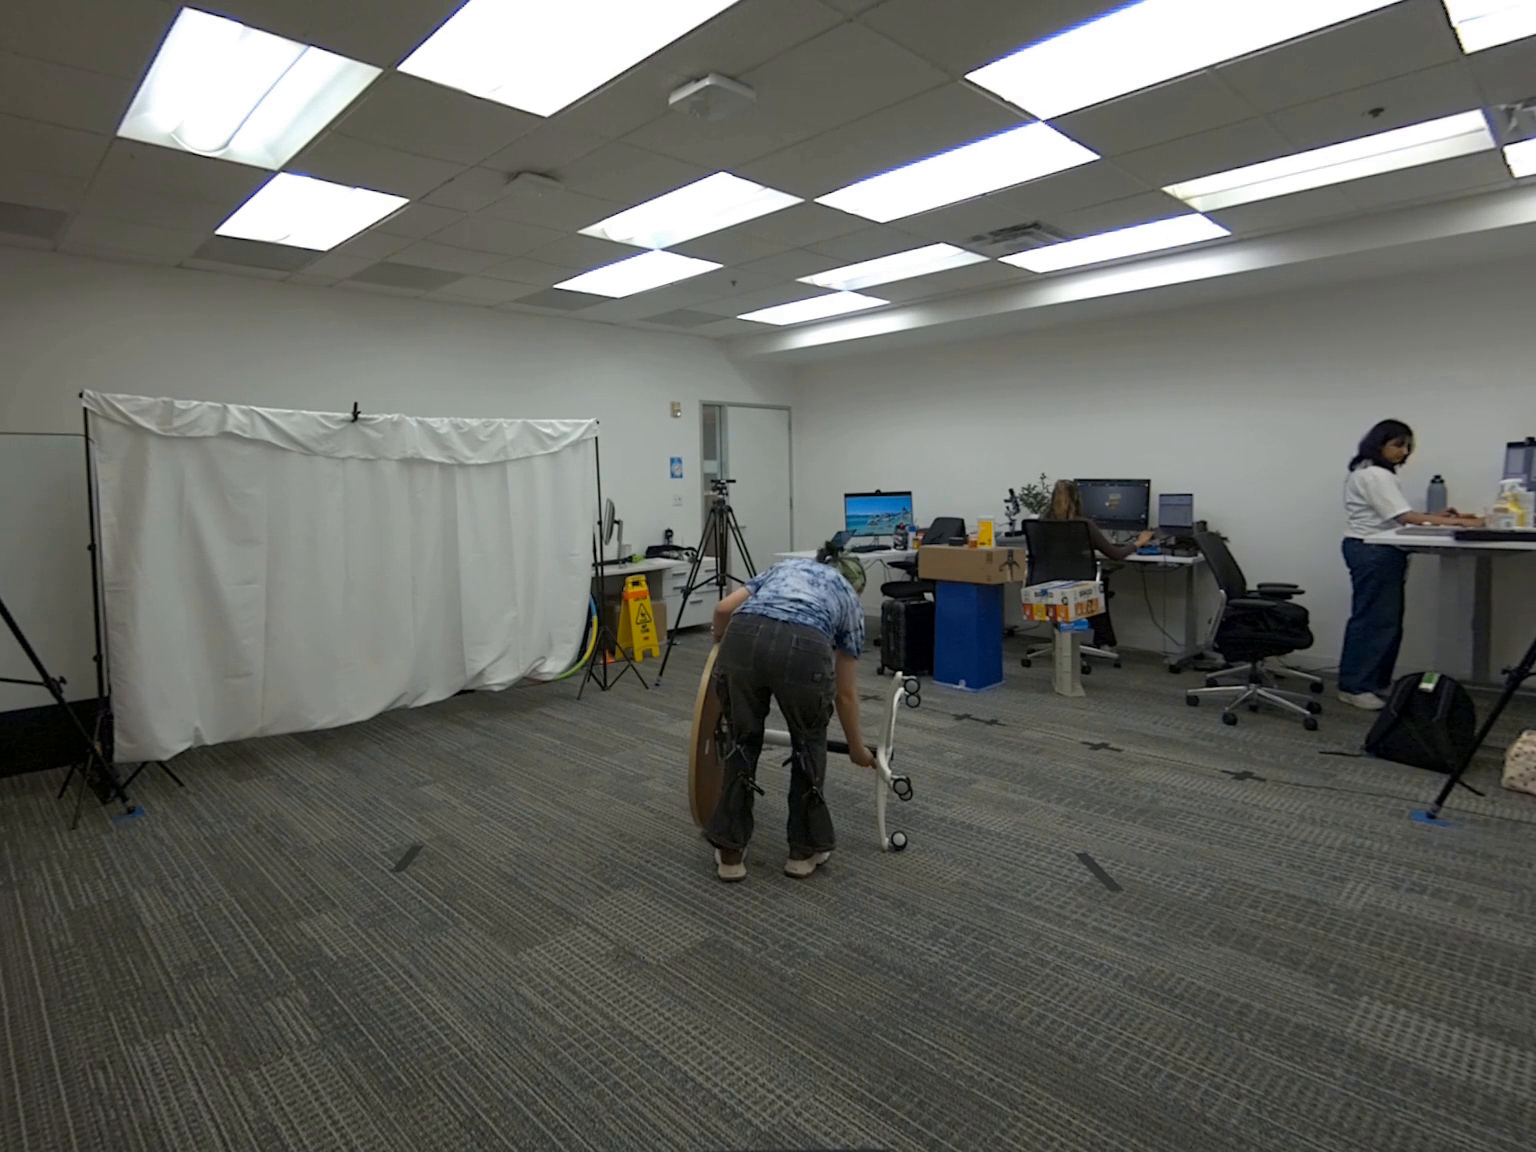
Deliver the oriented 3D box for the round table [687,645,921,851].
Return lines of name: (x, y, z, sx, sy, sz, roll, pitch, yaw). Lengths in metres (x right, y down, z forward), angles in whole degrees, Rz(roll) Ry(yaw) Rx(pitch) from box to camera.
round table: (0.171, 0.669, 3.375, 0.804, 0.761, 0.758, 5, 6, 11)
